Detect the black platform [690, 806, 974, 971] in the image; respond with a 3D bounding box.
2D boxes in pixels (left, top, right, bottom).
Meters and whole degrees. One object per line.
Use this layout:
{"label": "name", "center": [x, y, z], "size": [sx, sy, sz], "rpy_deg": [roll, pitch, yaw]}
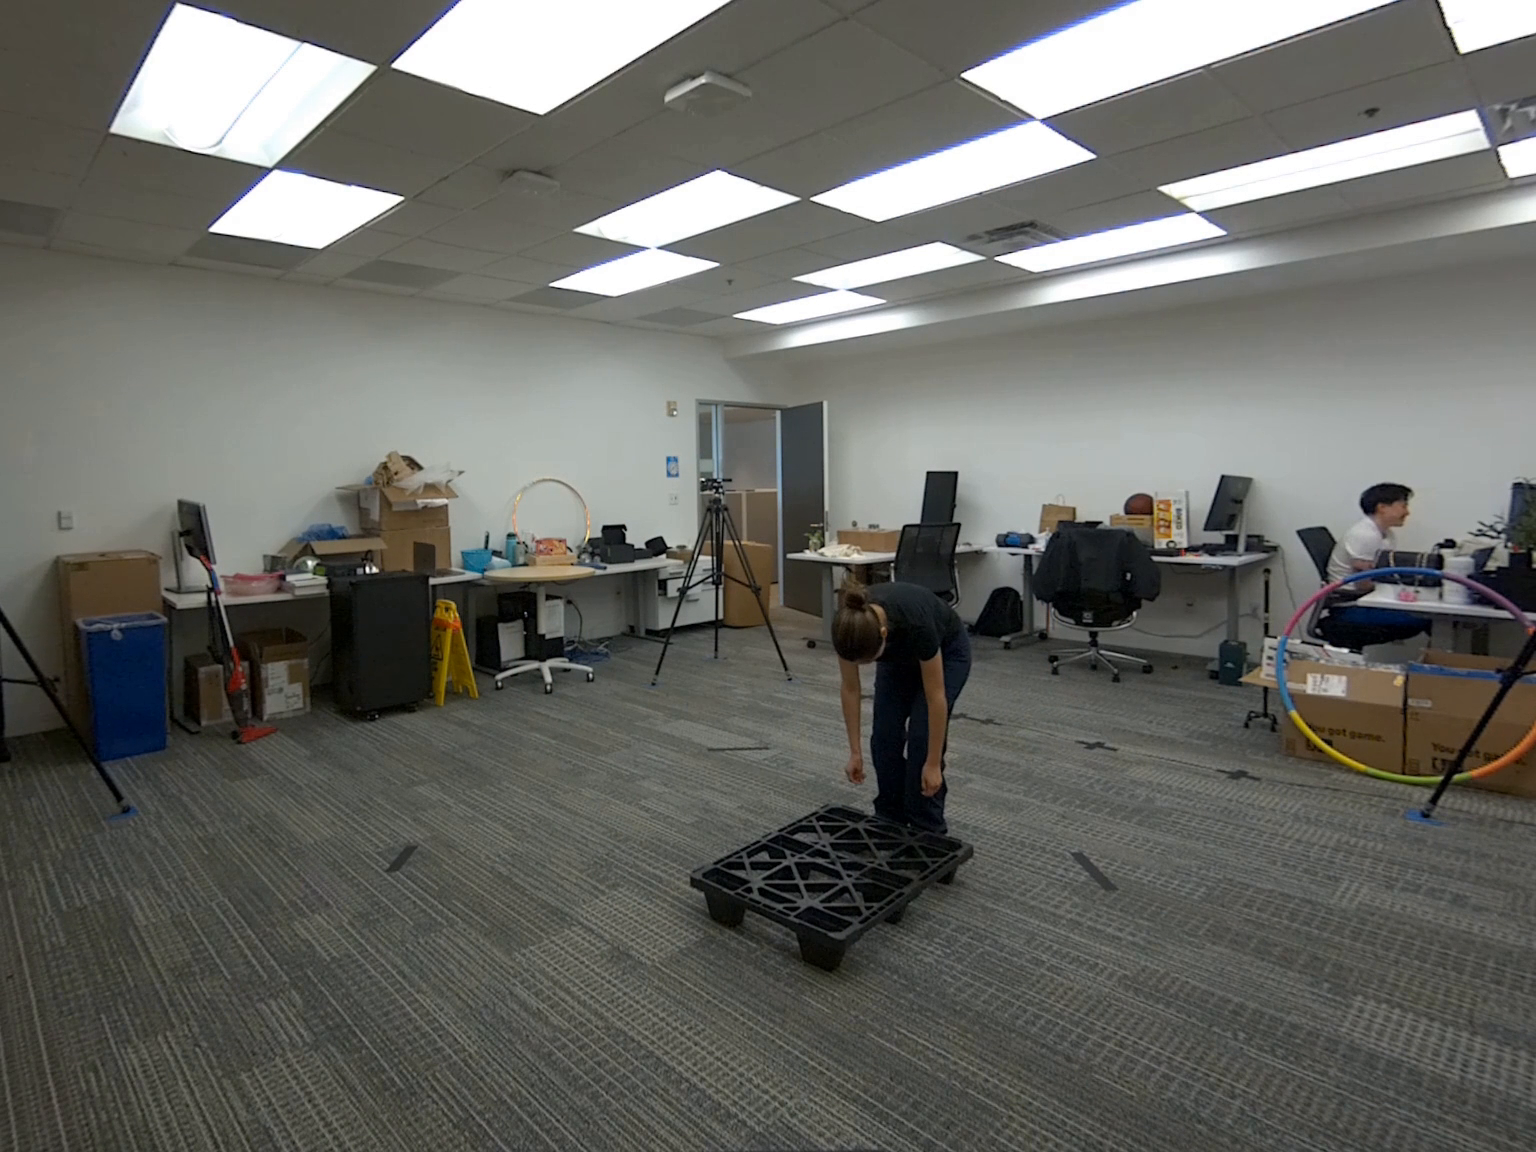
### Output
{"label": "black platform", "center": [0.231, 1.004, 2.847], "size": [0.624, 0.142, 0.785], "rpy_deg": [5, 9, 40]}
